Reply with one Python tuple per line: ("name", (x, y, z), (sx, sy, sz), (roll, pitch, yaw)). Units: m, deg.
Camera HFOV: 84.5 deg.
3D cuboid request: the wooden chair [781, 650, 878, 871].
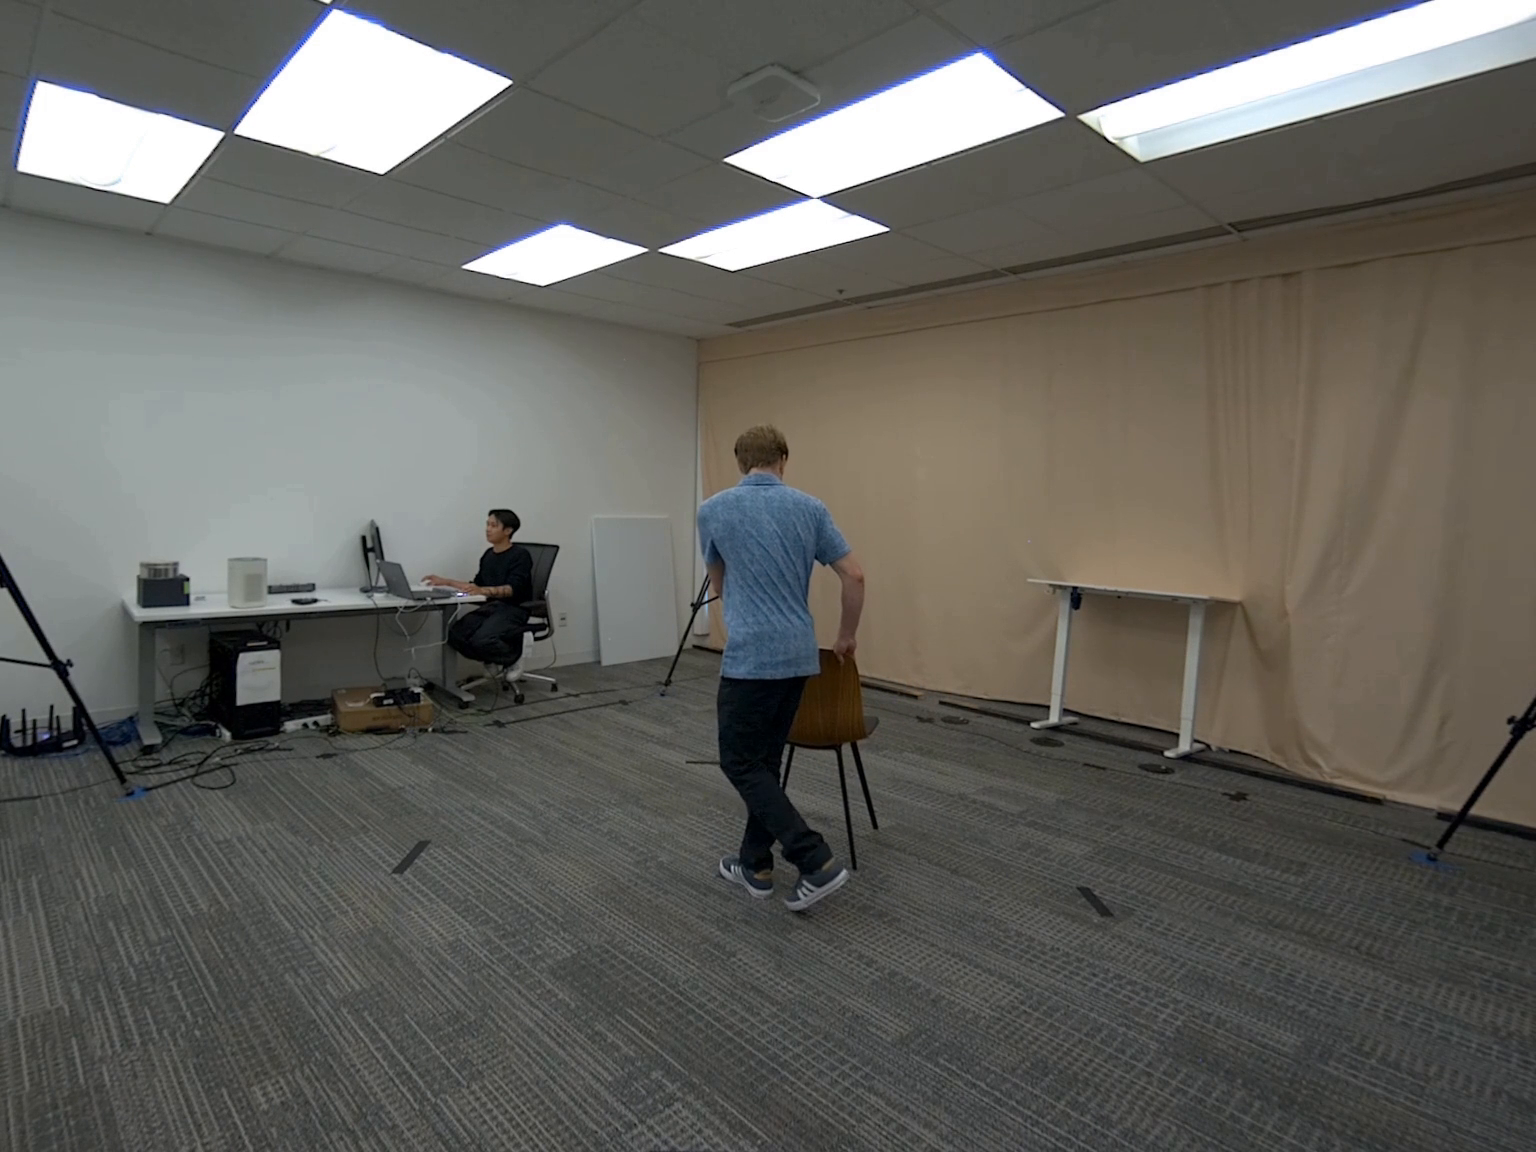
("wooden chair", (0.191, 0.656, 3.441), (0.485, 0.873, 0.518), (2, 7, 19))
